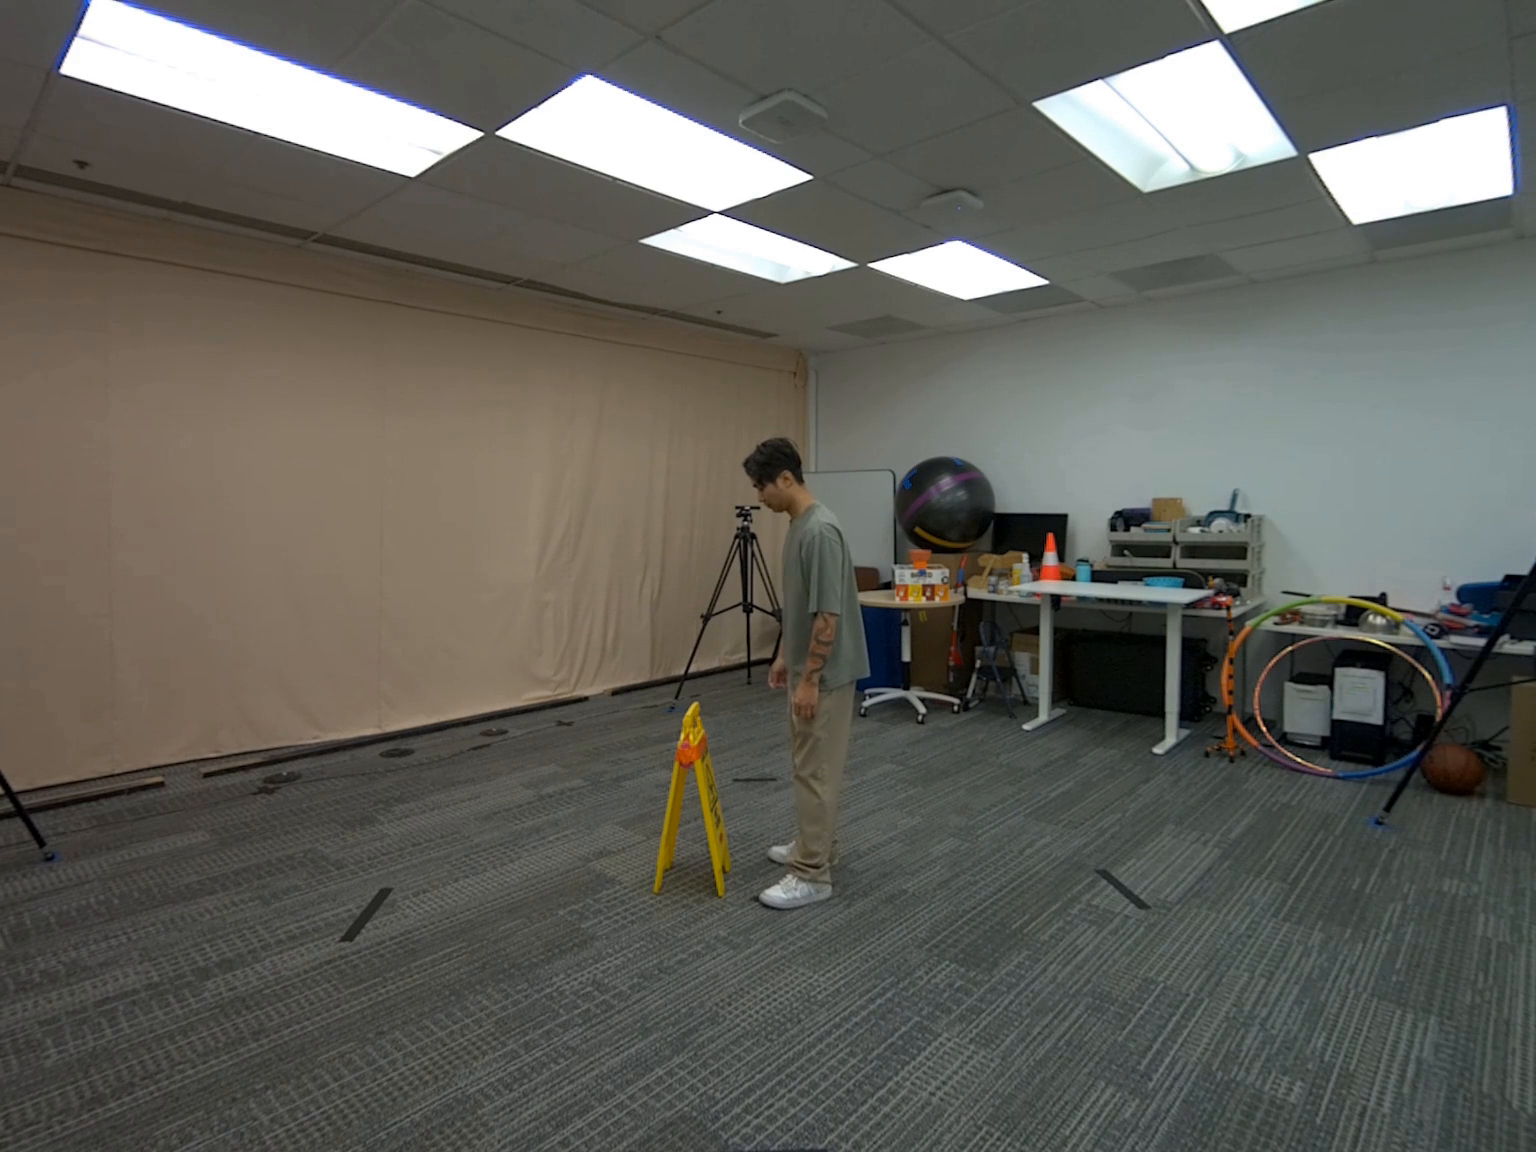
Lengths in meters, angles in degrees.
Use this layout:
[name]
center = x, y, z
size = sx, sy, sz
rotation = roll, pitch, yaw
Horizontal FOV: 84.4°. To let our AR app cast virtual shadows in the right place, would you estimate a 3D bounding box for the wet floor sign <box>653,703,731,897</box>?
[wet floor sign]
center = -0.279, 0.814, 3.121
size = 0.292, 0.645, 0.281
rotation = -1, 3, 5
